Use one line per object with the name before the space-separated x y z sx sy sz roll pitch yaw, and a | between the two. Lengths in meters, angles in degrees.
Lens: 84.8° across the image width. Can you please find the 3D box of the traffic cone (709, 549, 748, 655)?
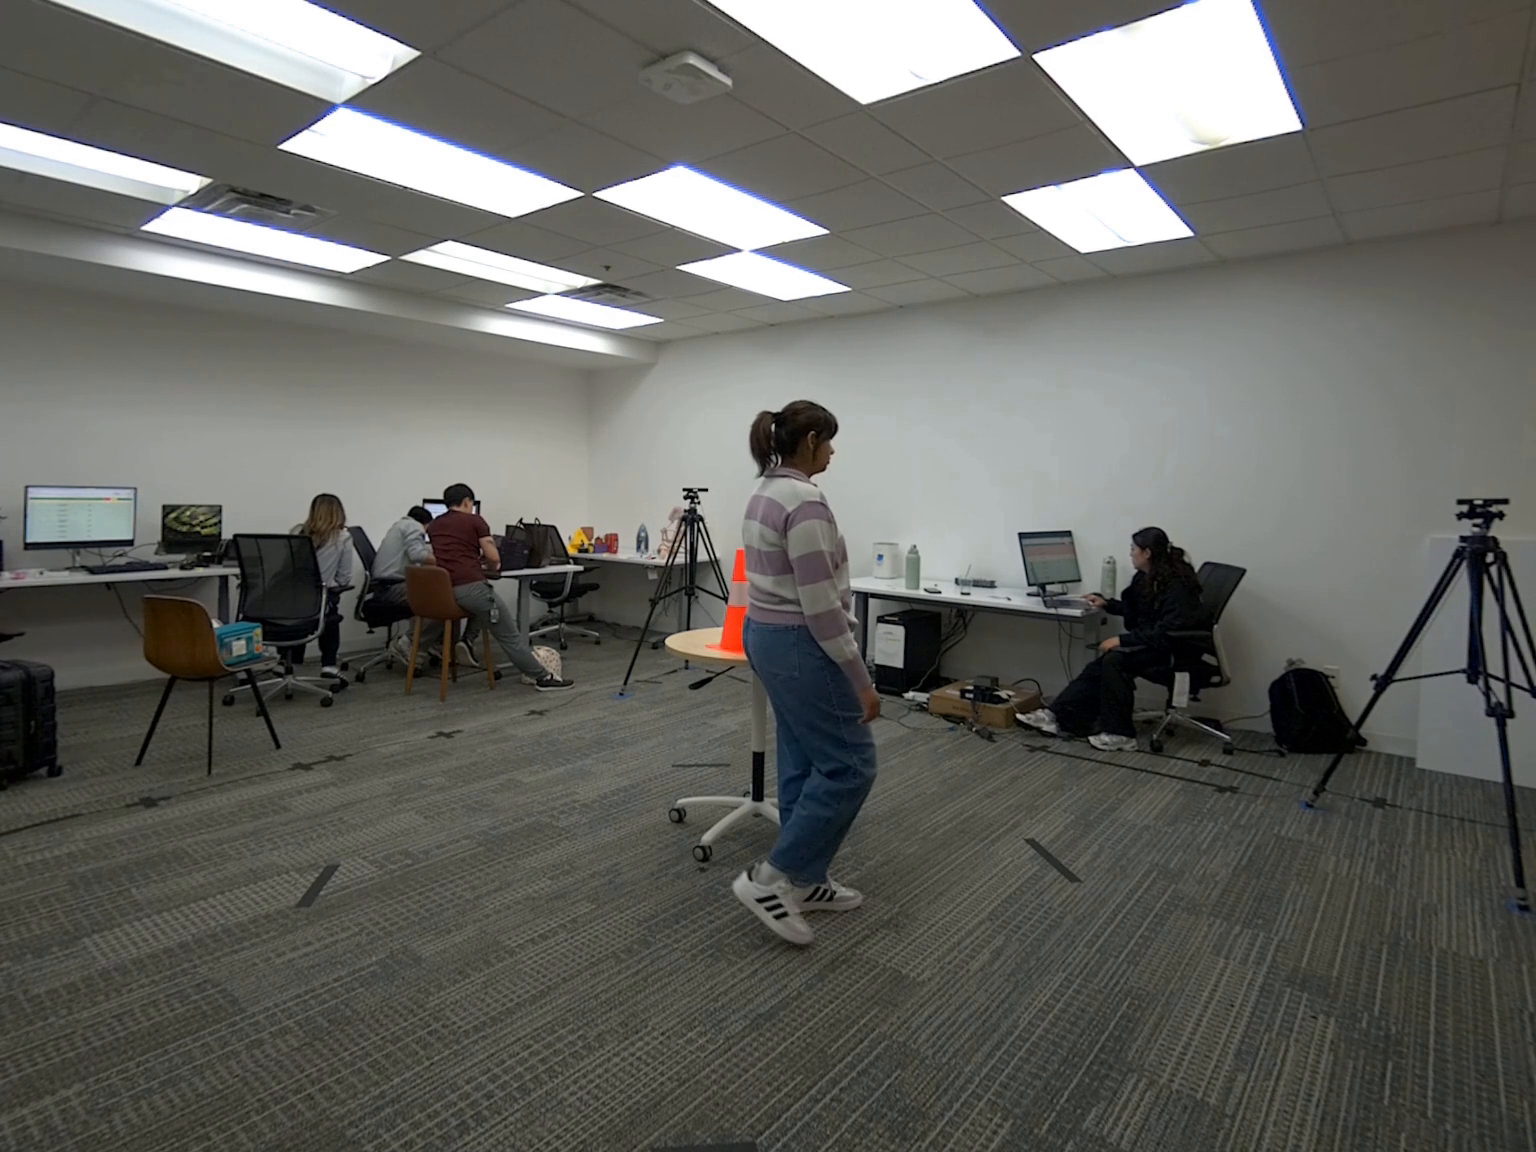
traffic cone | -0.113 0.086 3.259 0.211 0.382 0.198 4 5 35
